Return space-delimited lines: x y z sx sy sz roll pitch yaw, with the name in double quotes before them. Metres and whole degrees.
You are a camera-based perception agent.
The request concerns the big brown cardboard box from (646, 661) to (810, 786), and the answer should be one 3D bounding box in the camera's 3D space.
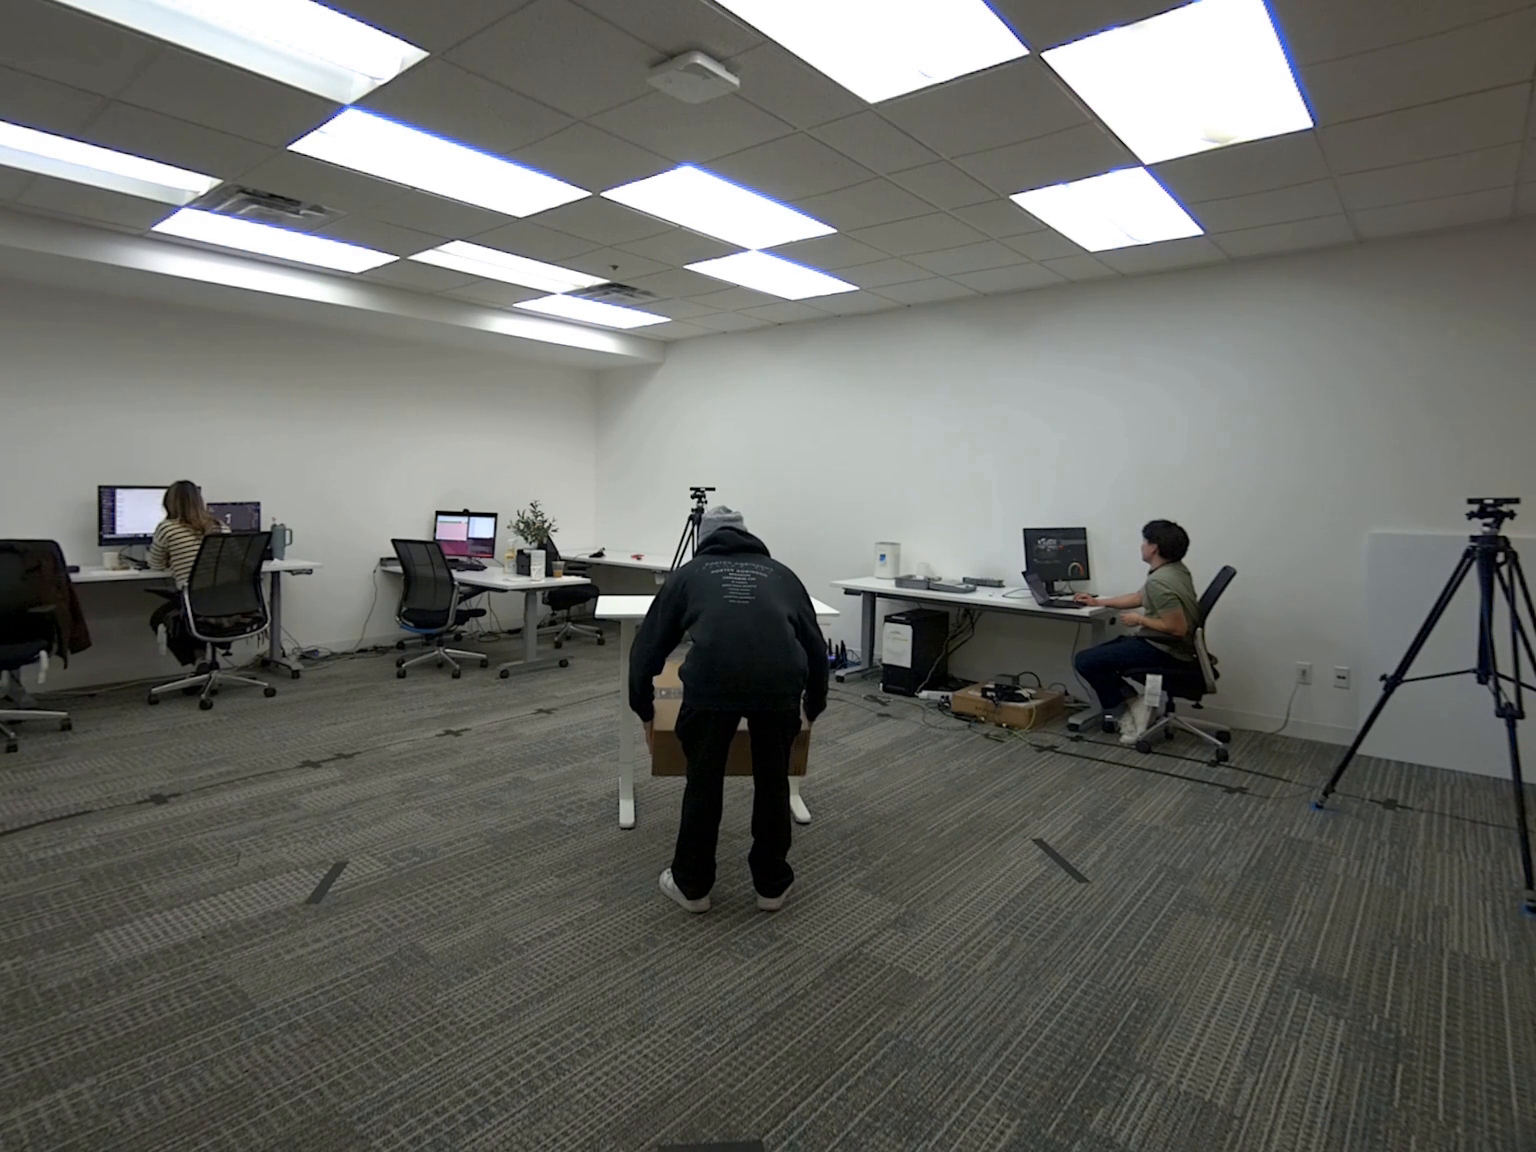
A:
"big brown cardboard box" -0.170 0.531 3.222 0.586 0.228 0.428 2 26 -5
